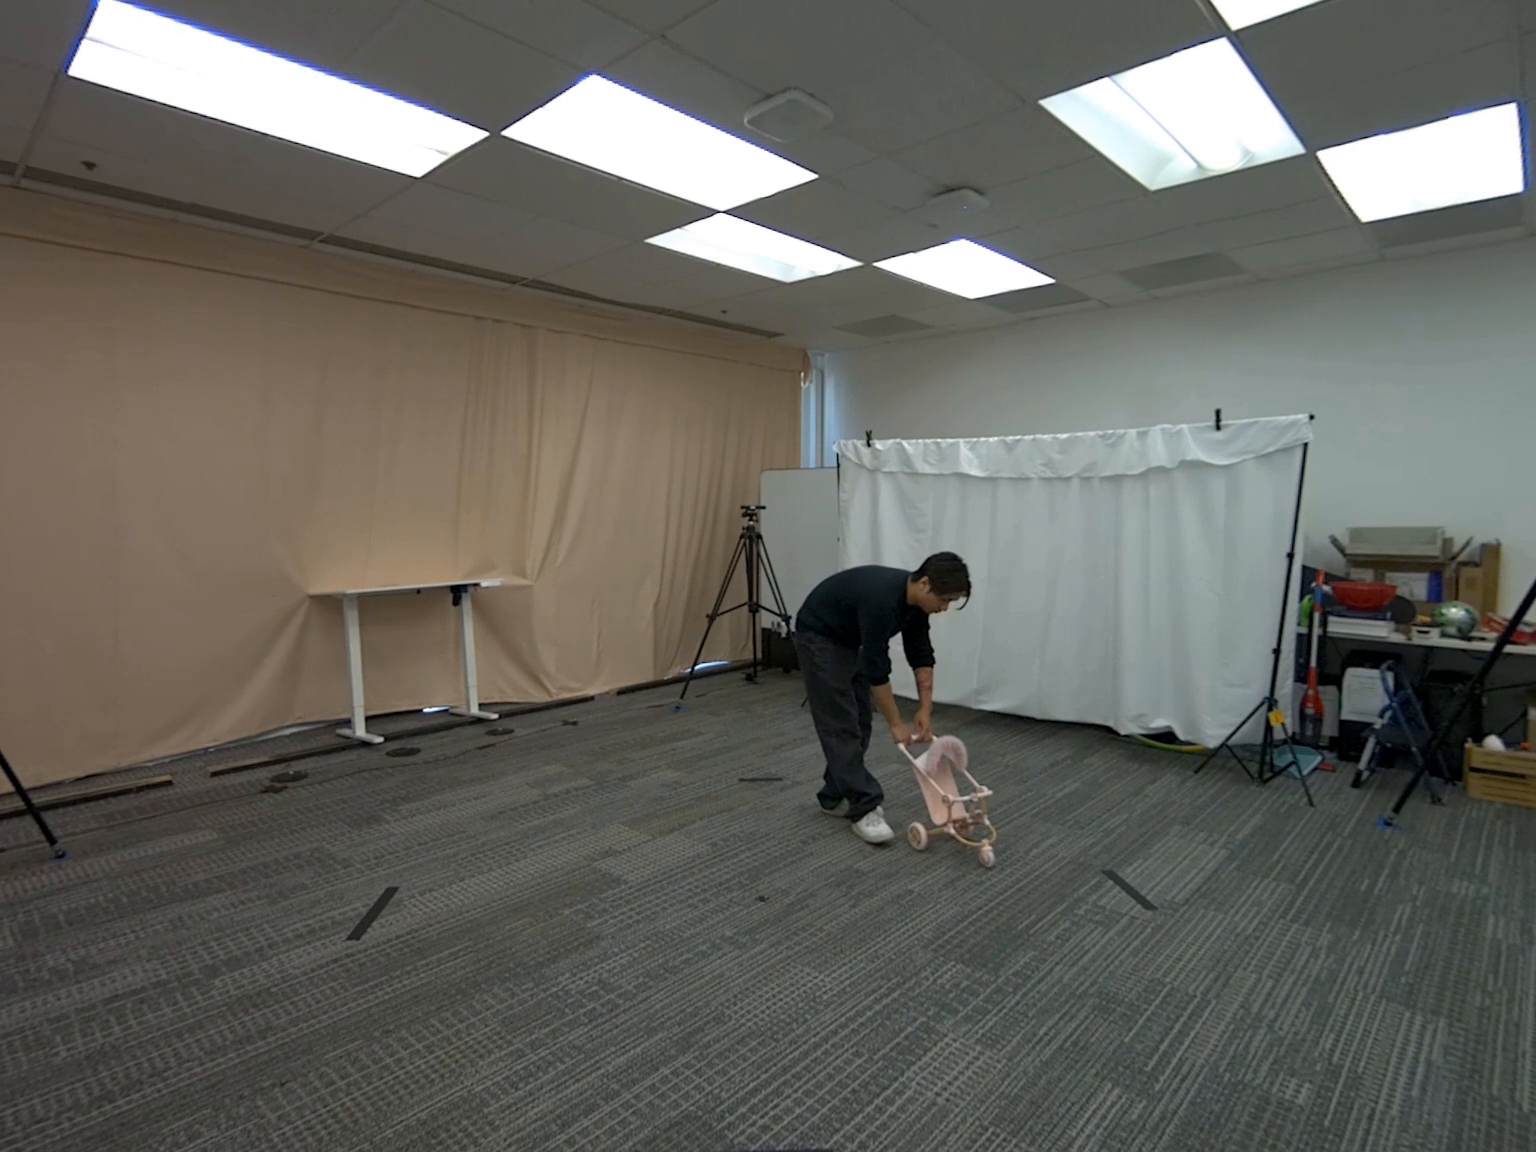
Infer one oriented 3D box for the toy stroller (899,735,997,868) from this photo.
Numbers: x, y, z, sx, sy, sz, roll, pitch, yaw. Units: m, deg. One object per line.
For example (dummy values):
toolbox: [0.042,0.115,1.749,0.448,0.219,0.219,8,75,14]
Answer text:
toy stroller: [0.746,0.888,3.406,0.274,0.541,0.346,-2,-15,-27]
